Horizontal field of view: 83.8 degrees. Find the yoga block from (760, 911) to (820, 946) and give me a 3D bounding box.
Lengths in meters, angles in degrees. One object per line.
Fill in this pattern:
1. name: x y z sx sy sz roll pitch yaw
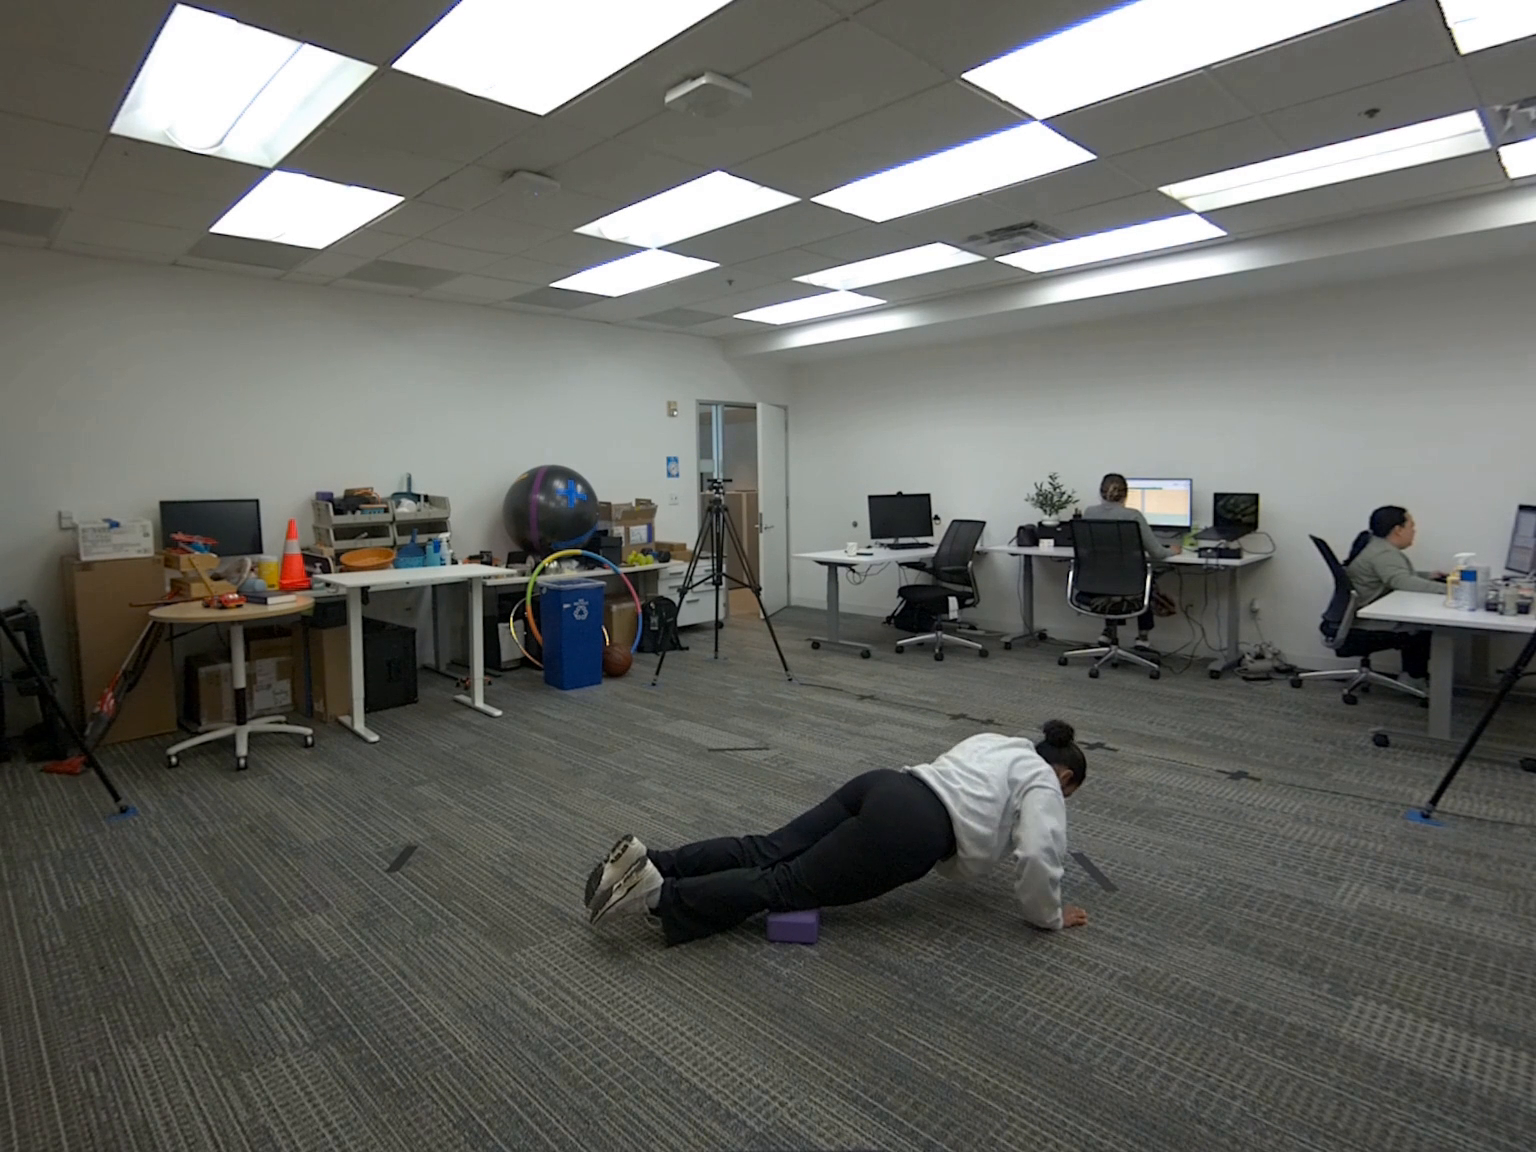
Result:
1. yoga block: 0.081 1.042 2.676 0.150 0.076 0.228 -1 5 10
